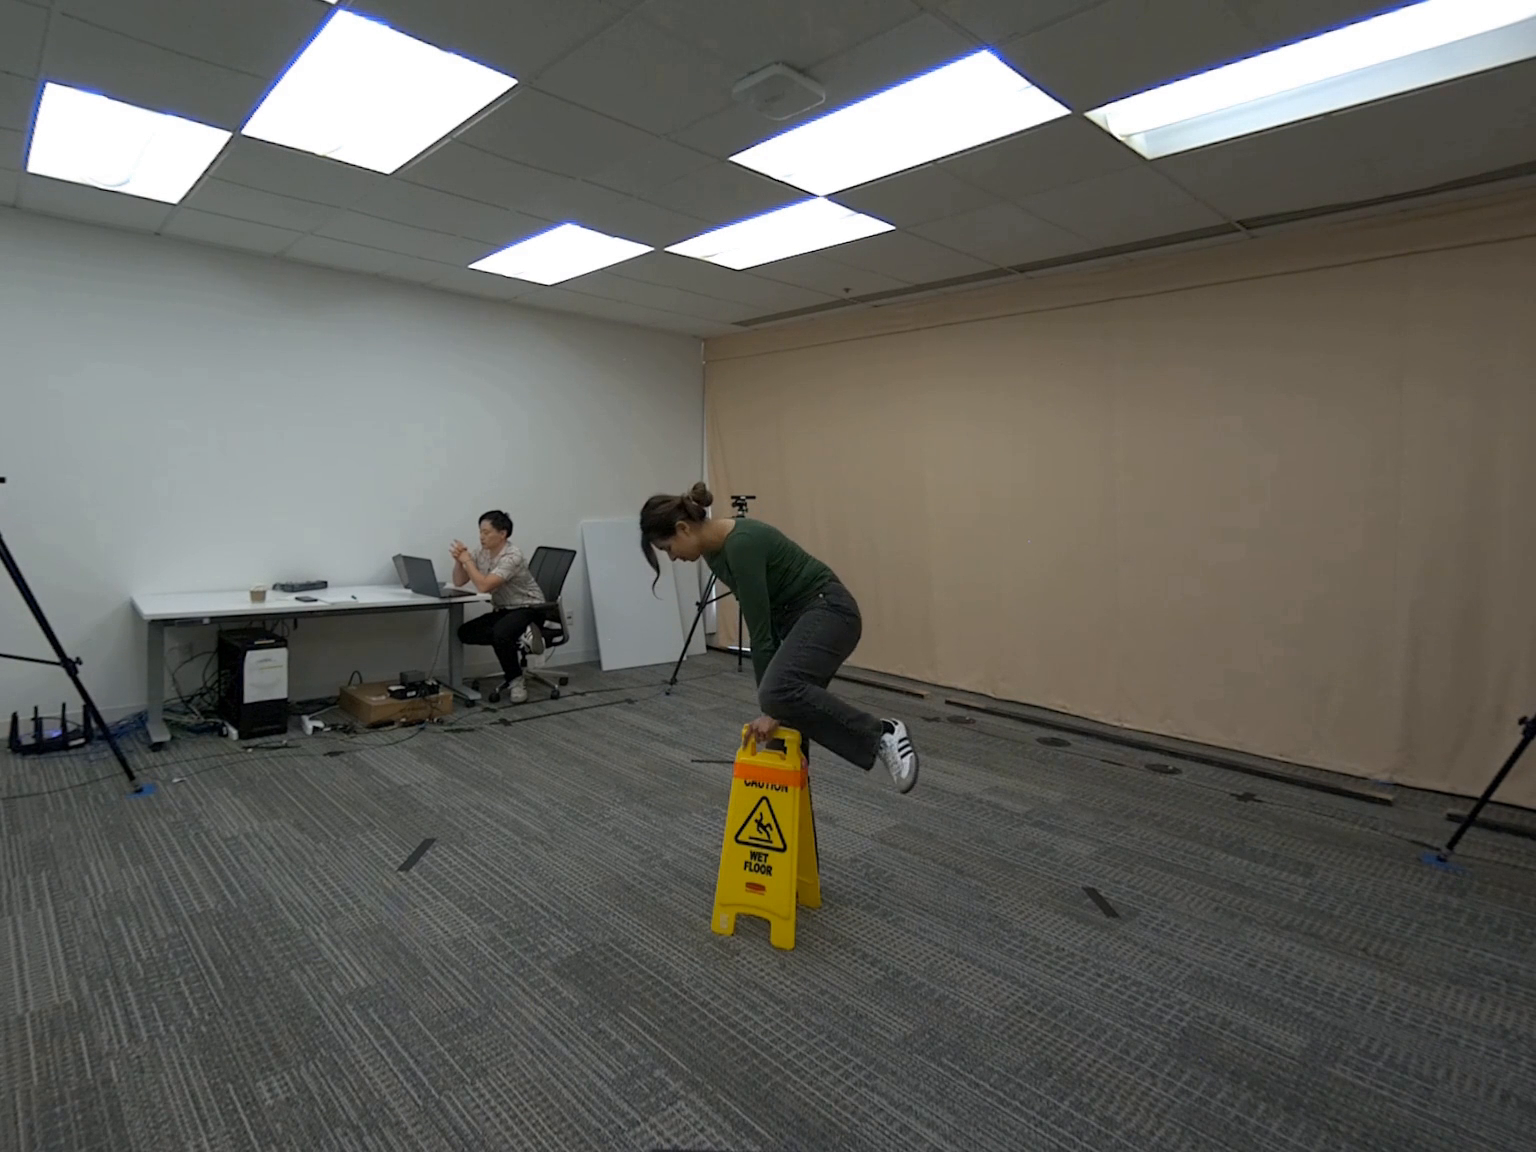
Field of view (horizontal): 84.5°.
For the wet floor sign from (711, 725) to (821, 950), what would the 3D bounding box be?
[{"bbox_3d":[0.001,0.813,2.763,0.287,0.645,0.285,3,3,21],"label":"wet floor sign"}]
